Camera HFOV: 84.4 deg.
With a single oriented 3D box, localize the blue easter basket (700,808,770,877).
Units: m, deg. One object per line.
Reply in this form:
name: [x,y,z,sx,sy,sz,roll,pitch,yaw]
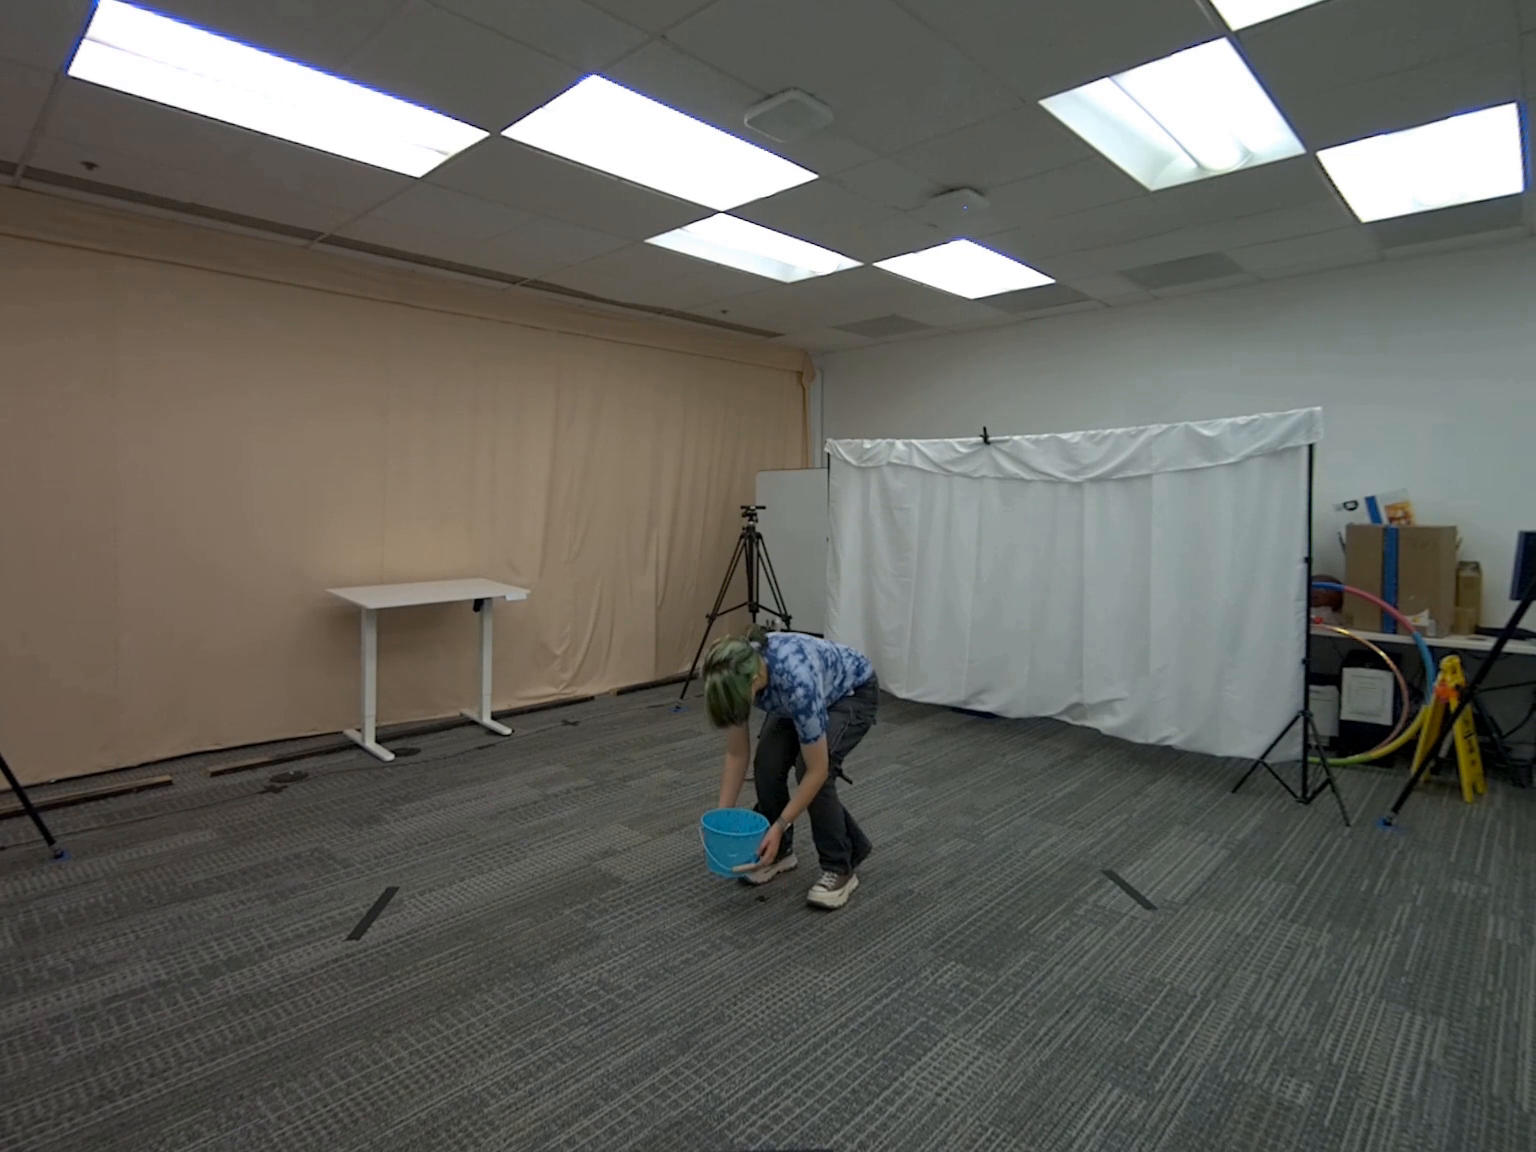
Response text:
blue easter basket: [-0.110,0.897,2.855,0.243,0.155,0.244,3,4,-2]
